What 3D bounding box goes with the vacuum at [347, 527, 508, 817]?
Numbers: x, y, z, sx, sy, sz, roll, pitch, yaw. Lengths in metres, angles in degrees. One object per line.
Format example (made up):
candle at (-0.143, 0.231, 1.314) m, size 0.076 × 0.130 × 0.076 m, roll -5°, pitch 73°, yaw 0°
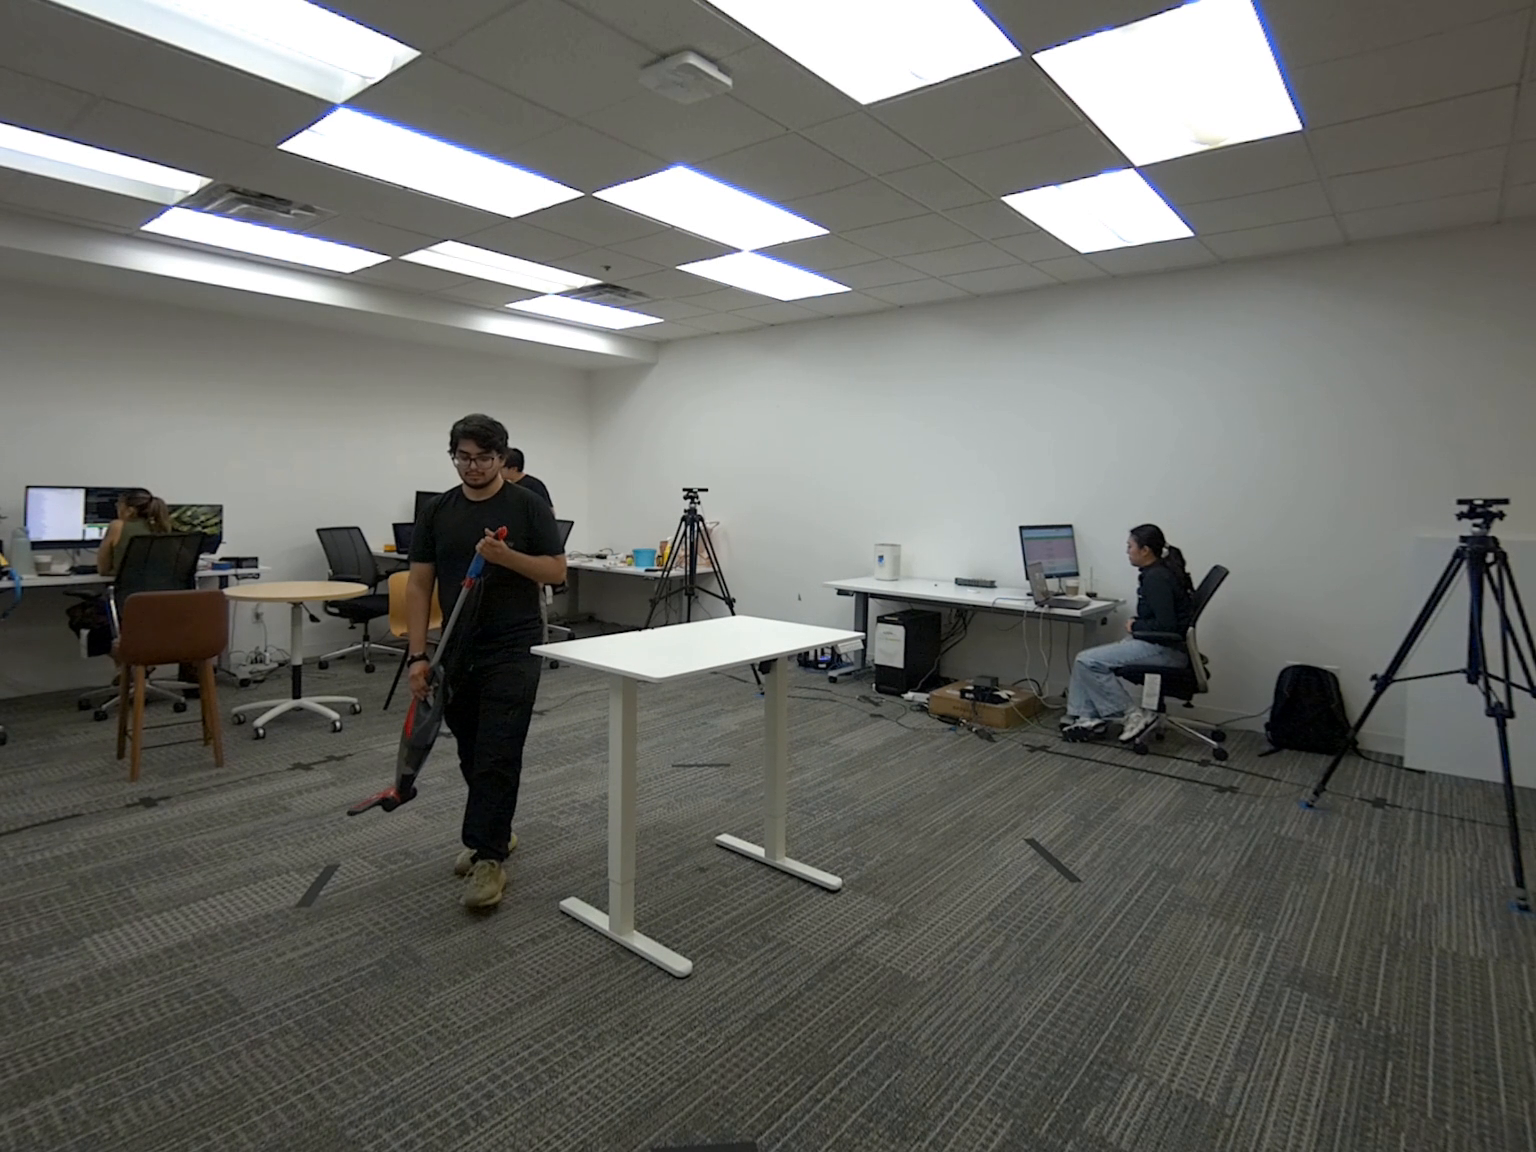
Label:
vacuum at (-1.114, 0.324, 2.841) m, size 0.147 × 1.044 × 0.248 m, roll 29°, pitch 11°, yaw 13°
